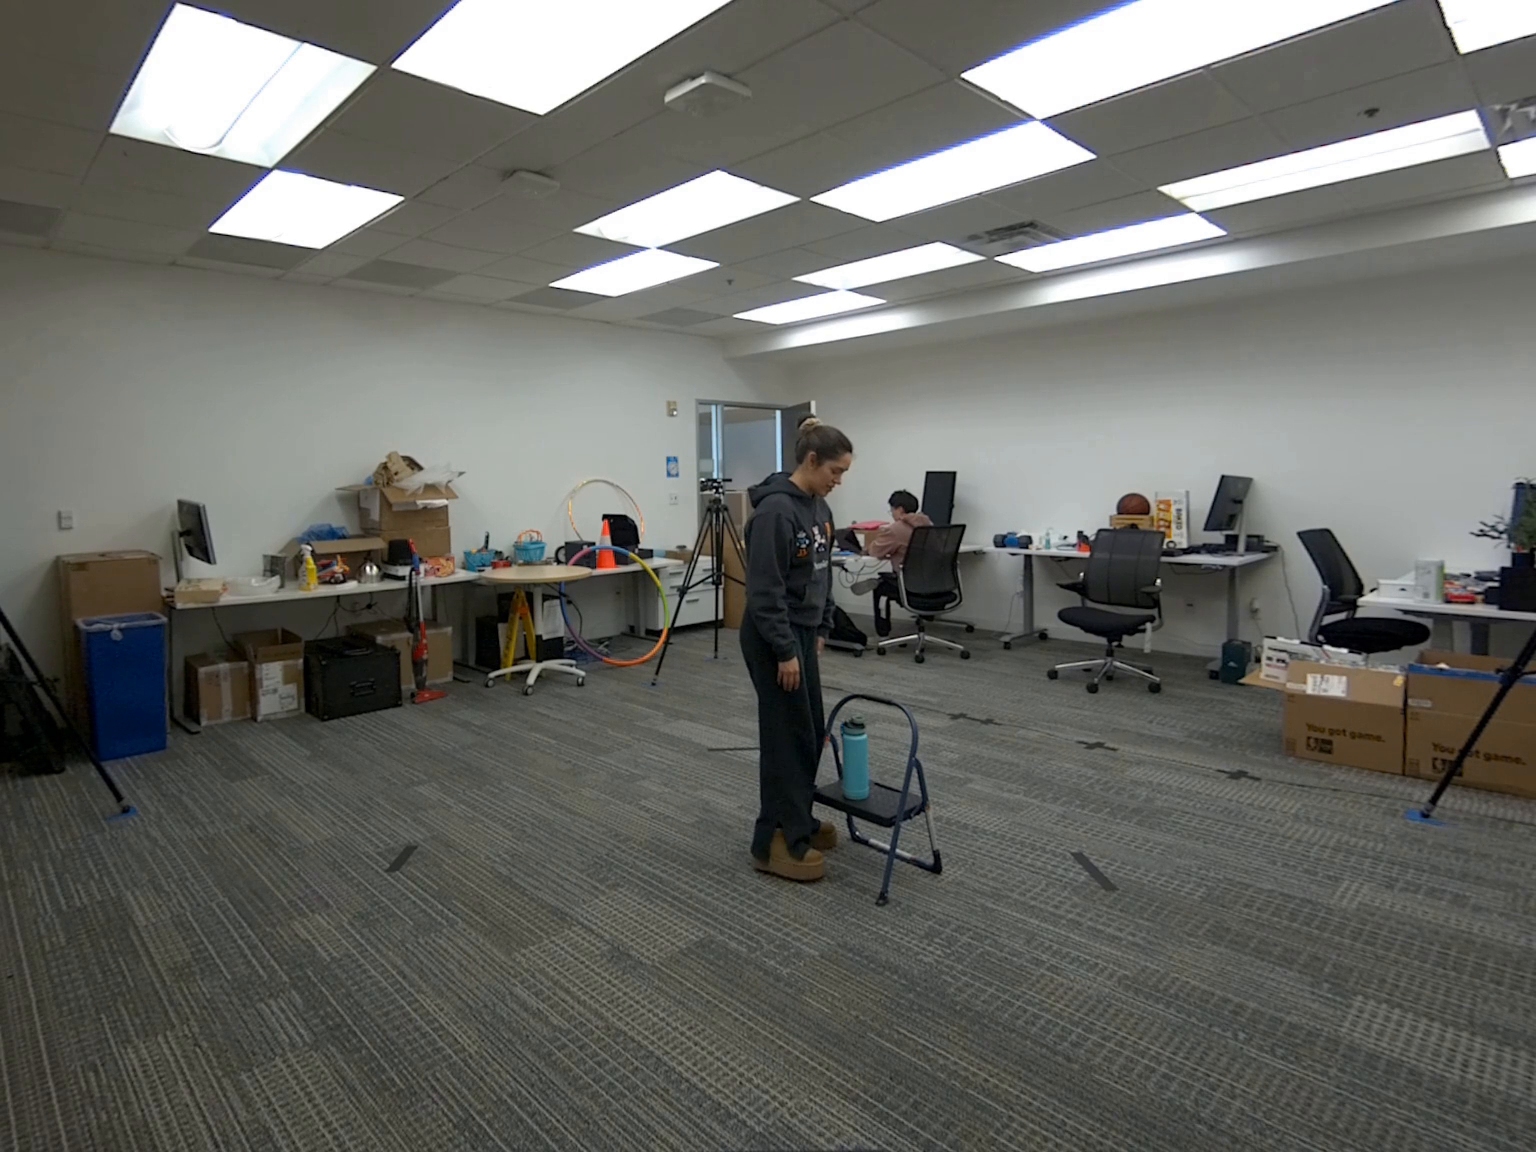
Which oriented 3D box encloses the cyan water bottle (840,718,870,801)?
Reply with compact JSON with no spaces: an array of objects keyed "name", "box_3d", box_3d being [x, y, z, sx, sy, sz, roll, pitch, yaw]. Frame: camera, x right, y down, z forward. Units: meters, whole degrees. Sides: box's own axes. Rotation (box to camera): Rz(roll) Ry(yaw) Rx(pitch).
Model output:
[{"name":"cyan water bottle","box_3d":[0.302,0.645,3.026,0.092,0.282,0.093,-3,6,-1]}]
